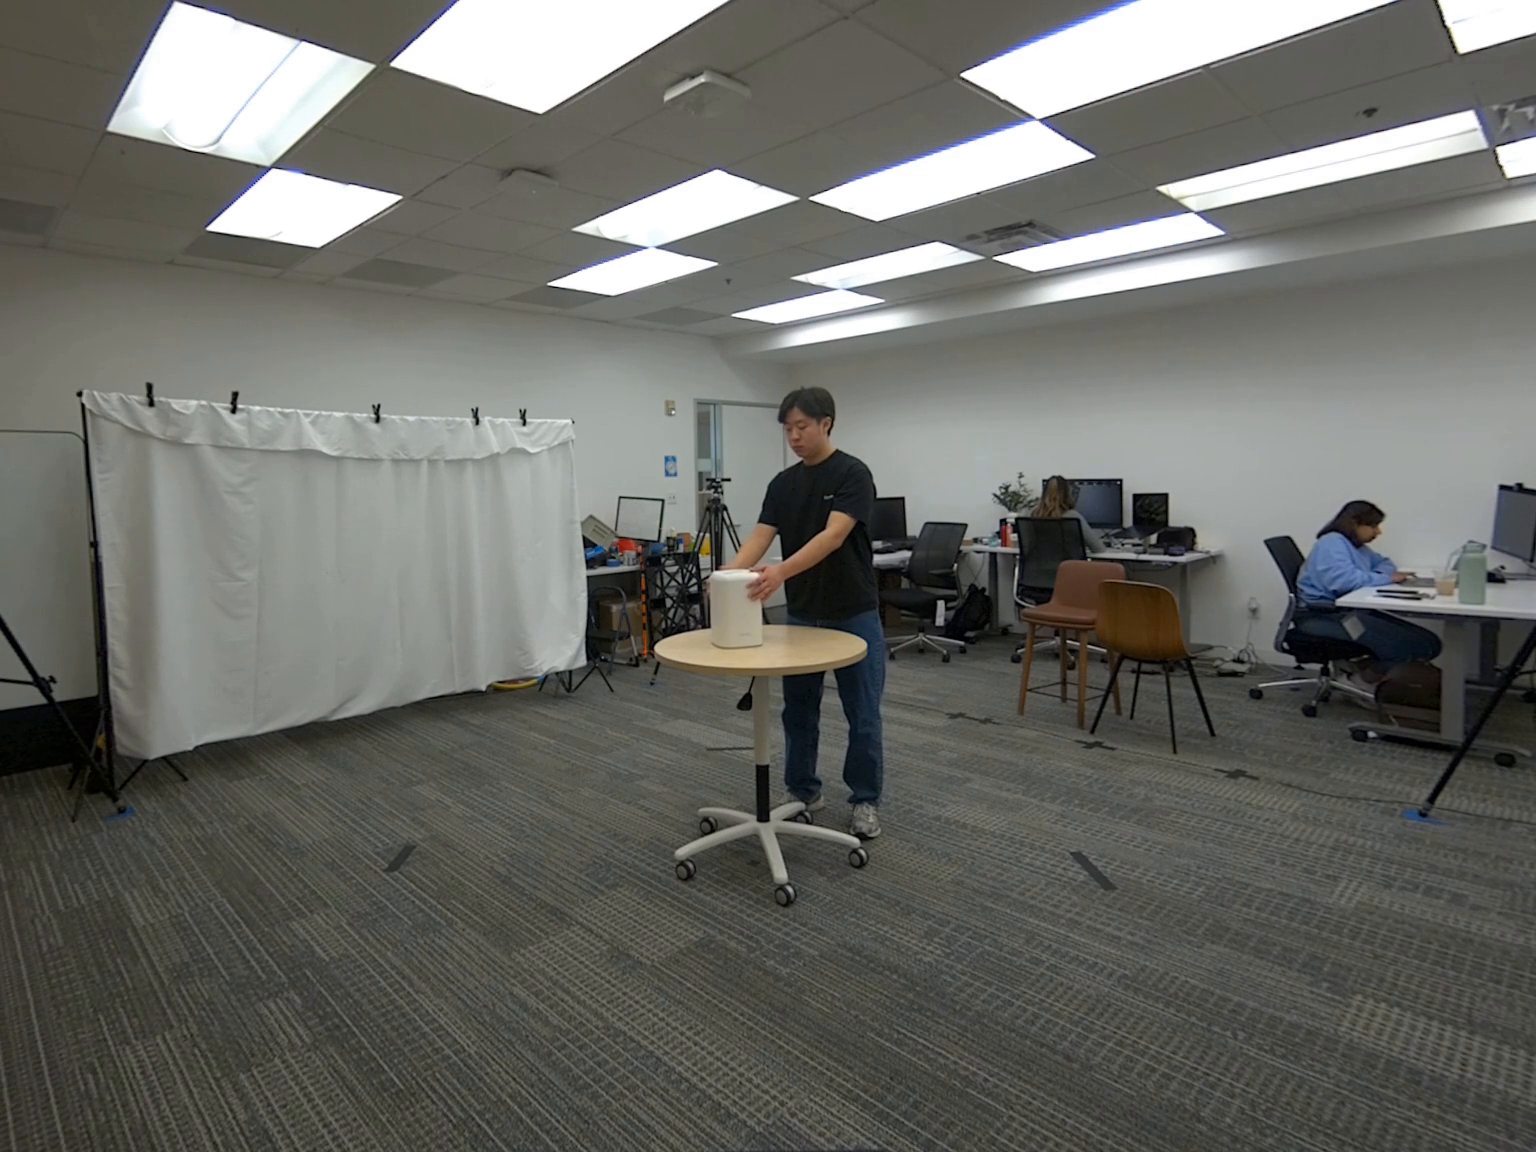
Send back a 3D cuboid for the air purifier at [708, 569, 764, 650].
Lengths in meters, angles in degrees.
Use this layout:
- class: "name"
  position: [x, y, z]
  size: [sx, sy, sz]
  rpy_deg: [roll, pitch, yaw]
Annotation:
- class: "air purifier"
  position: [-0.117, 0.116, 3.105]
  size: [0.168, 0.265, 0.174]
  rpy_deg: [-3, 2, -17]
